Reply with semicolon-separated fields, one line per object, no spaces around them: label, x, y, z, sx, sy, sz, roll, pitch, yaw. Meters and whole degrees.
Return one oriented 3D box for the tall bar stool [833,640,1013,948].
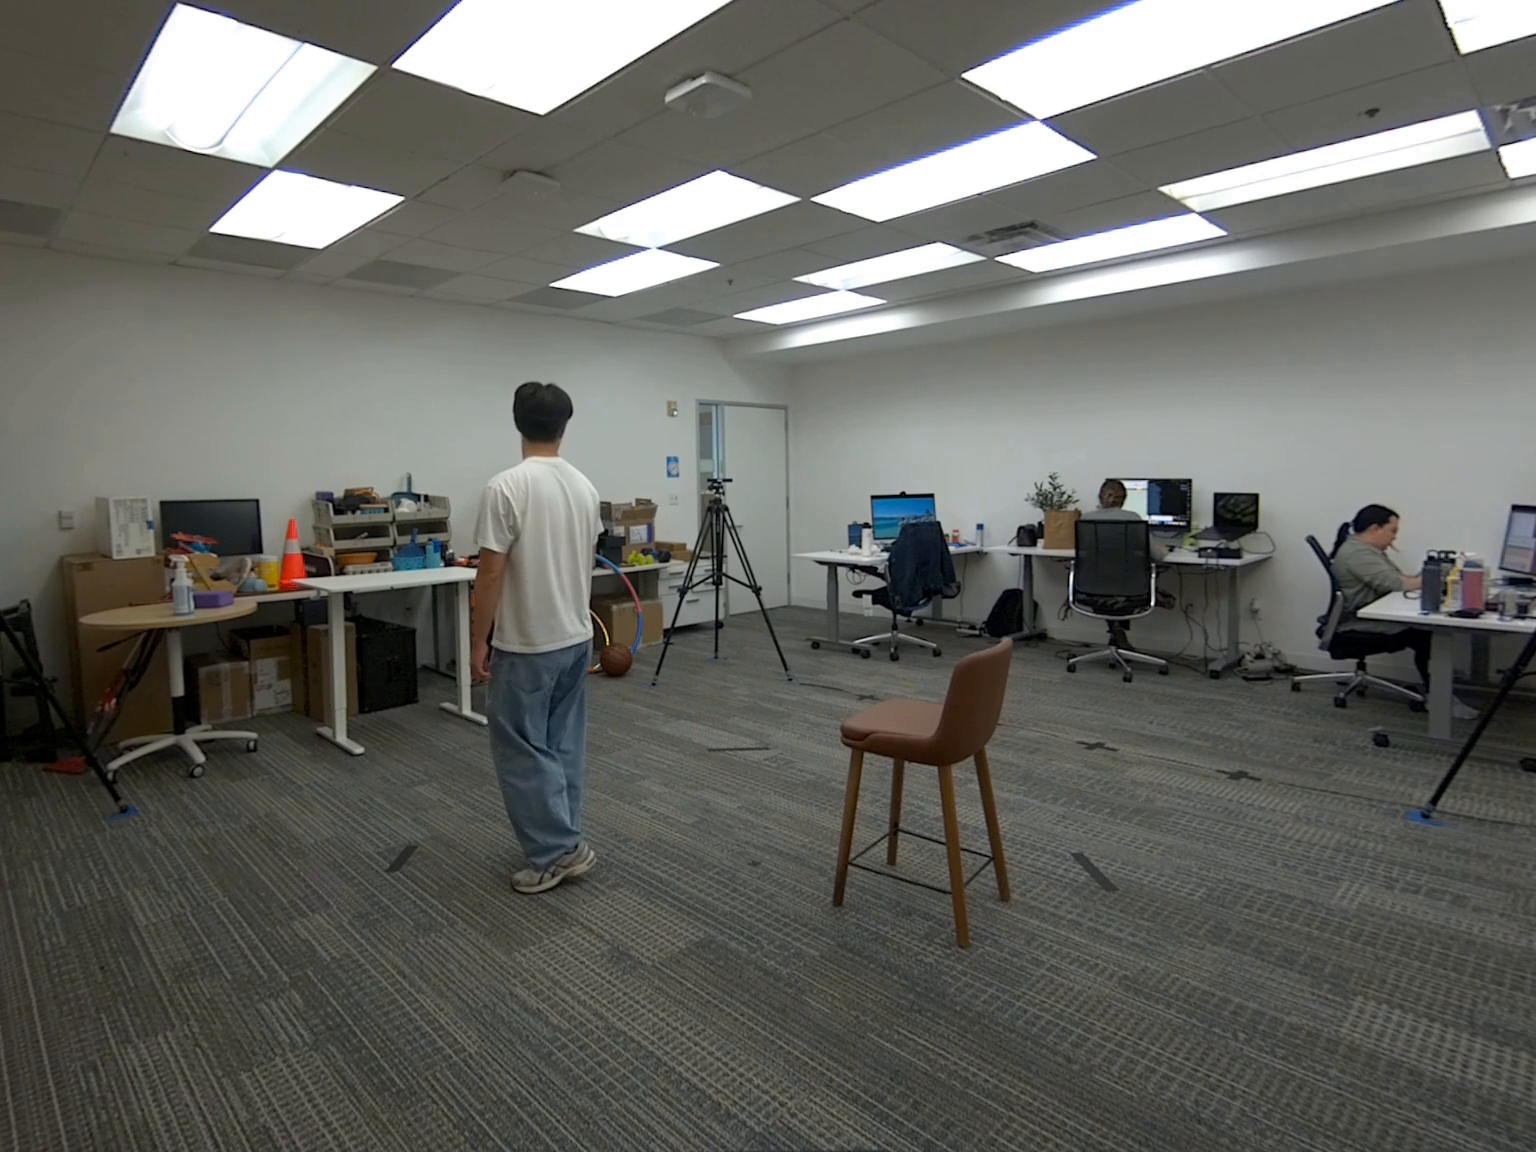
tall bar stool;0.508;0.637;2.772;0.482;0.885;0.445;5;8;37
